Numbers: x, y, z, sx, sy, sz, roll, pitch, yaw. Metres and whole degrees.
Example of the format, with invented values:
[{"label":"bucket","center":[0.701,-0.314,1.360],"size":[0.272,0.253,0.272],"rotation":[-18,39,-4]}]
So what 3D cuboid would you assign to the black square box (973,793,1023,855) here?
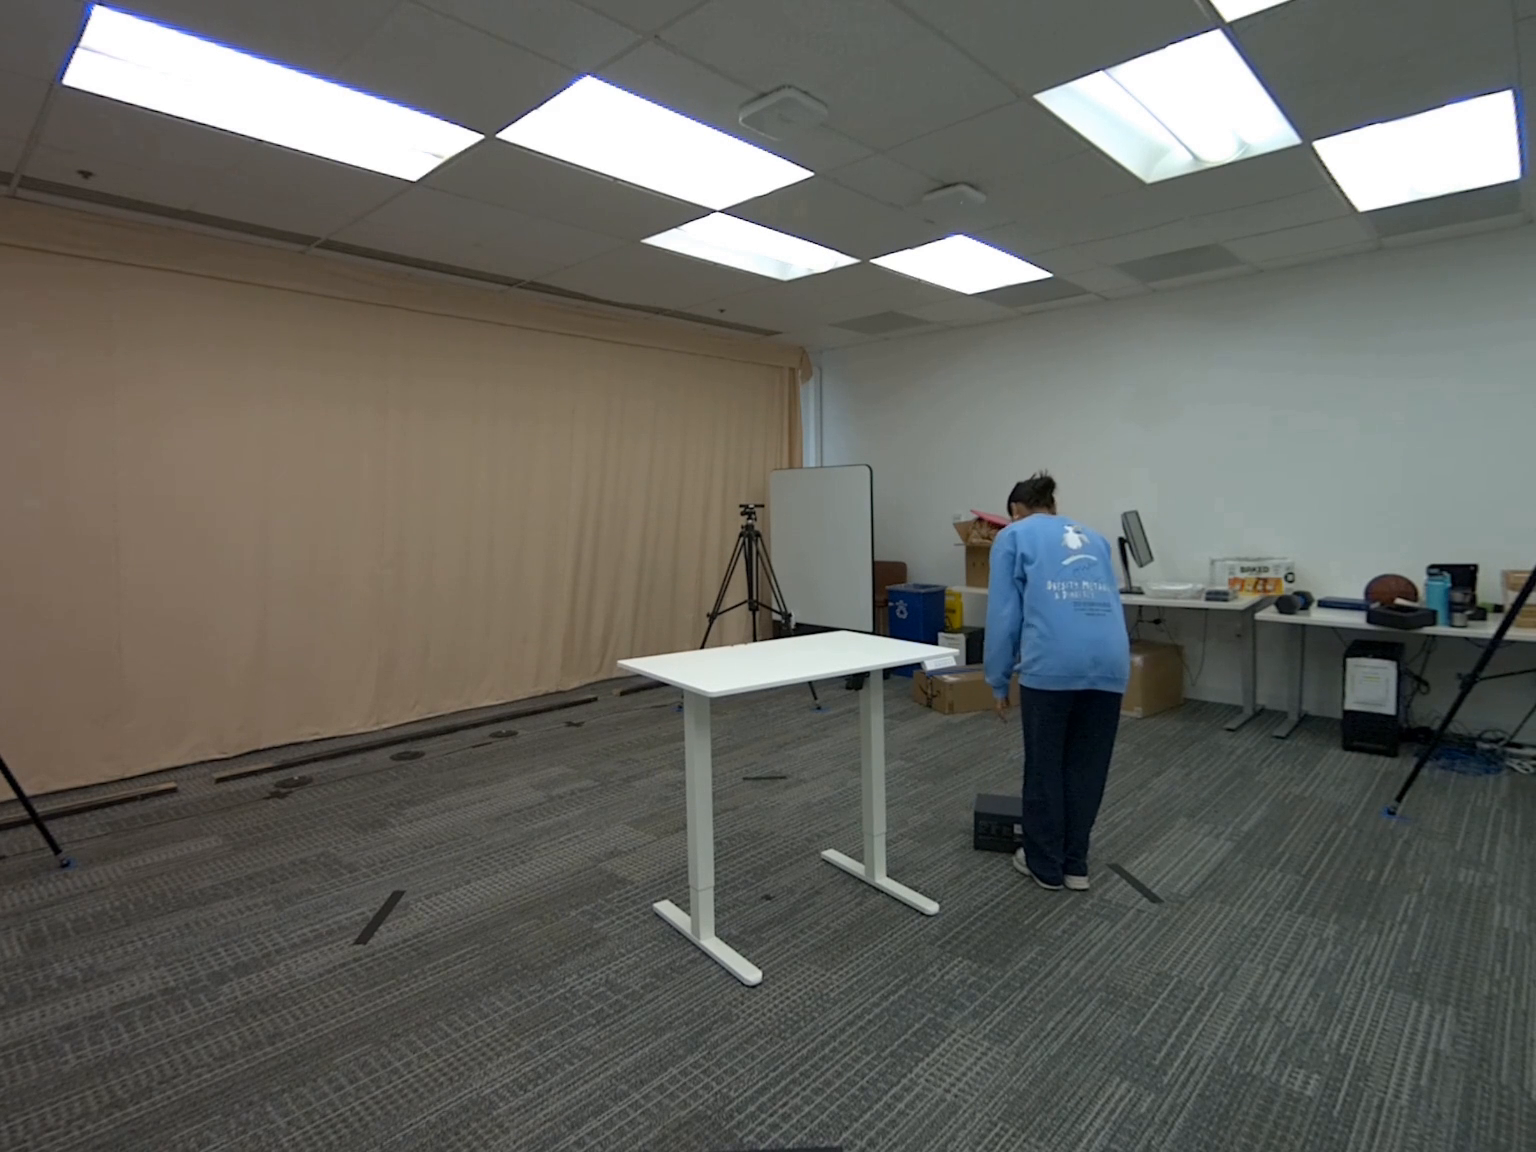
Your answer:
[{"label":"black square box","center":[0.958,1.003,3.427],"size":[0.221,0.155,0.224],"rotation":[1,5,17]}]
